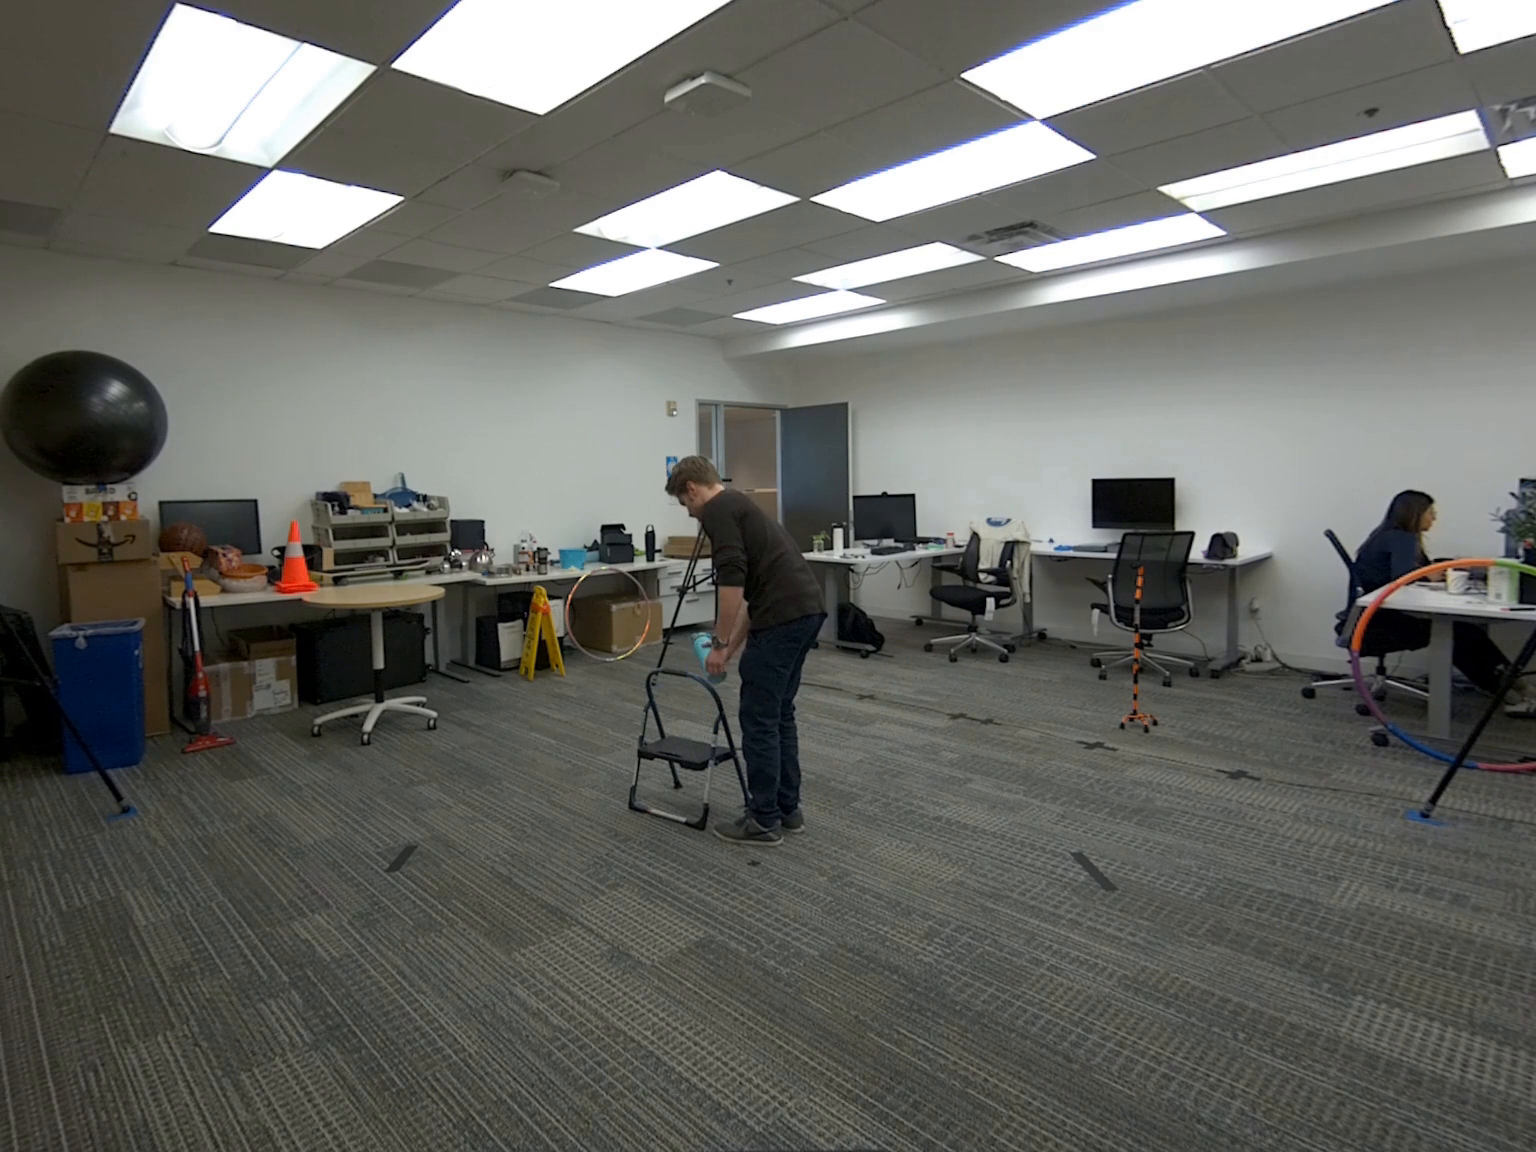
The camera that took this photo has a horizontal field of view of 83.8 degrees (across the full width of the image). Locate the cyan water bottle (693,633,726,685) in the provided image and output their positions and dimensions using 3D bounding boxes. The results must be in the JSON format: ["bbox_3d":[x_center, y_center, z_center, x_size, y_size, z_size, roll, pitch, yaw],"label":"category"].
[{"bbox_3d":[-0.269,0.353,3.740,0.091,0.090,0.294,-3,34,-18],"label":"cyan water bottle"}]
